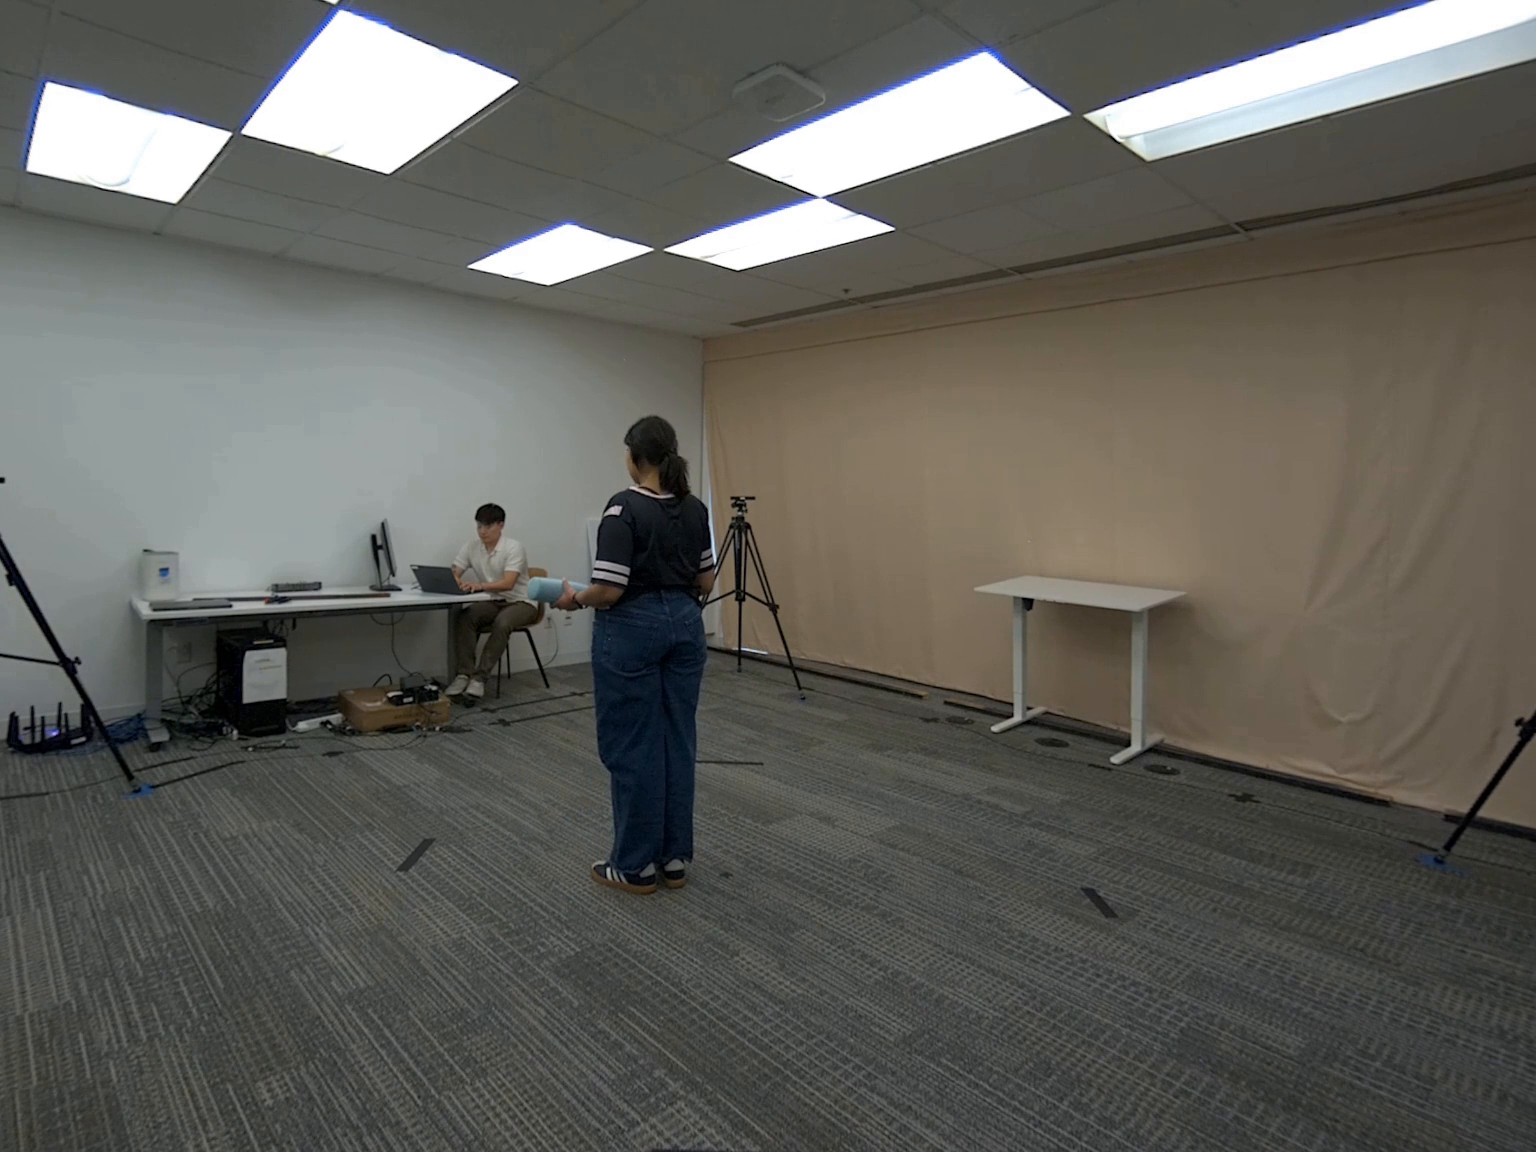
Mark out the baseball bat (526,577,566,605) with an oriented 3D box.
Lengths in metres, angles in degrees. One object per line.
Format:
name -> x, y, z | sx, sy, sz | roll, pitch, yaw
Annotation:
baseball bat -> -0.662, 0.076, 3.206 | 0.091, 0.089, 0.528 | 6, -3, 44
